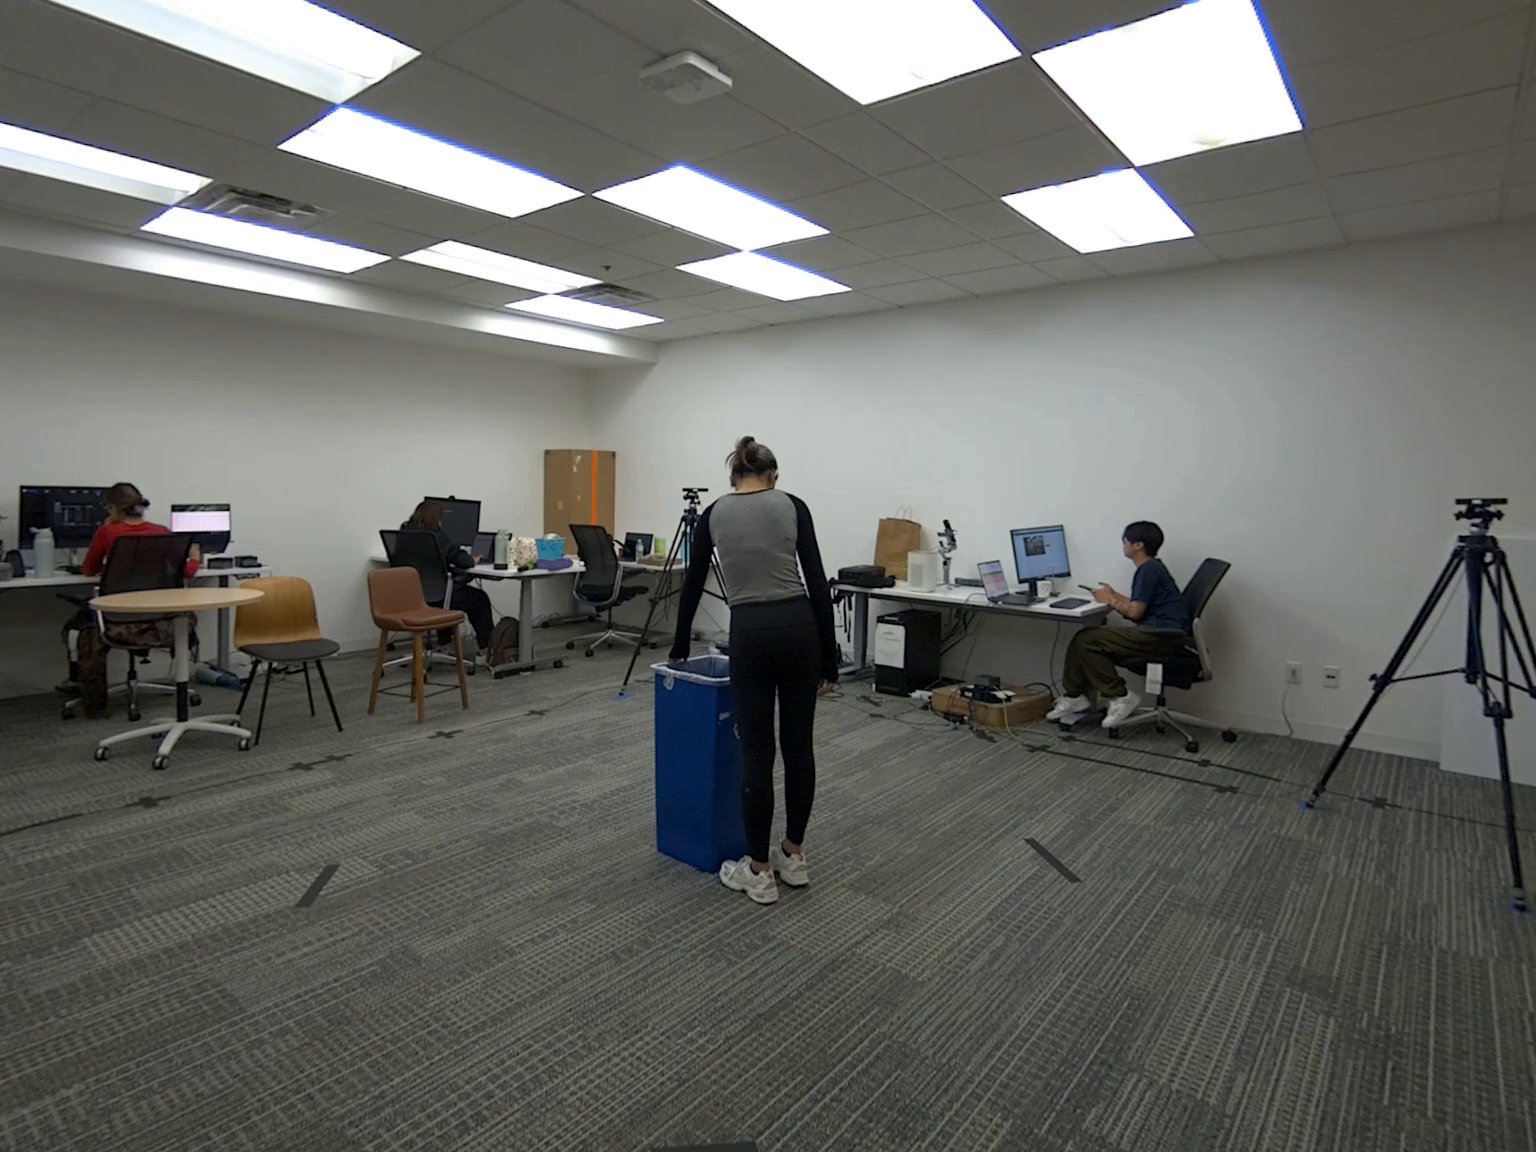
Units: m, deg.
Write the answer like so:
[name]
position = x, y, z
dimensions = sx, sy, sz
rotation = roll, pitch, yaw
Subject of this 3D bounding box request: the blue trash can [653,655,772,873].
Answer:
[blue trash can]
position = -0.223, 0.697, 3.268
dimensions = 0.391, 0.712, 0.363
rotation = 4, 4, 40
